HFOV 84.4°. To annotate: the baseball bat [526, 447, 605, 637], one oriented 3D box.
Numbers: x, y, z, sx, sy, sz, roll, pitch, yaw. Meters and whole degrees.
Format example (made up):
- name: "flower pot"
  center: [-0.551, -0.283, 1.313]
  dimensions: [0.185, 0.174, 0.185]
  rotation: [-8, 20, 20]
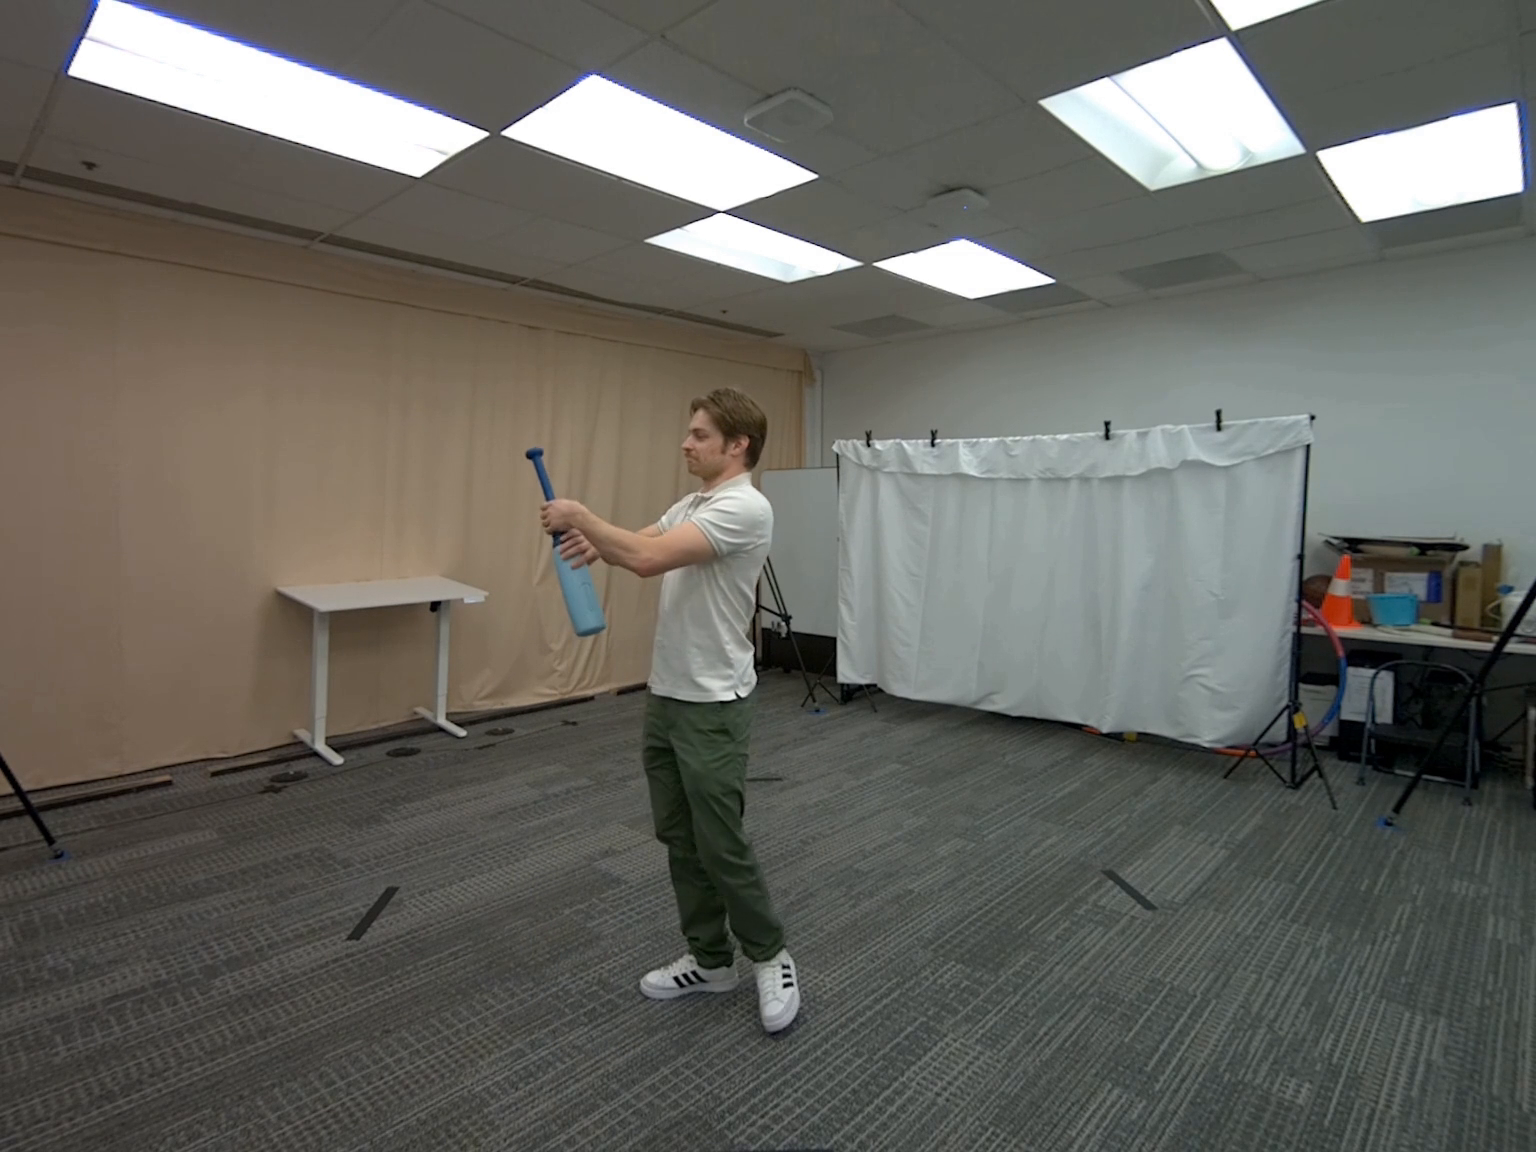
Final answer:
- name: "baseball bat"
  center: [-0.551, -0.100, 2.278]
  dimensions: [0.089, 0.548, 0.088]
  rotation: [-18, -11, -5]
